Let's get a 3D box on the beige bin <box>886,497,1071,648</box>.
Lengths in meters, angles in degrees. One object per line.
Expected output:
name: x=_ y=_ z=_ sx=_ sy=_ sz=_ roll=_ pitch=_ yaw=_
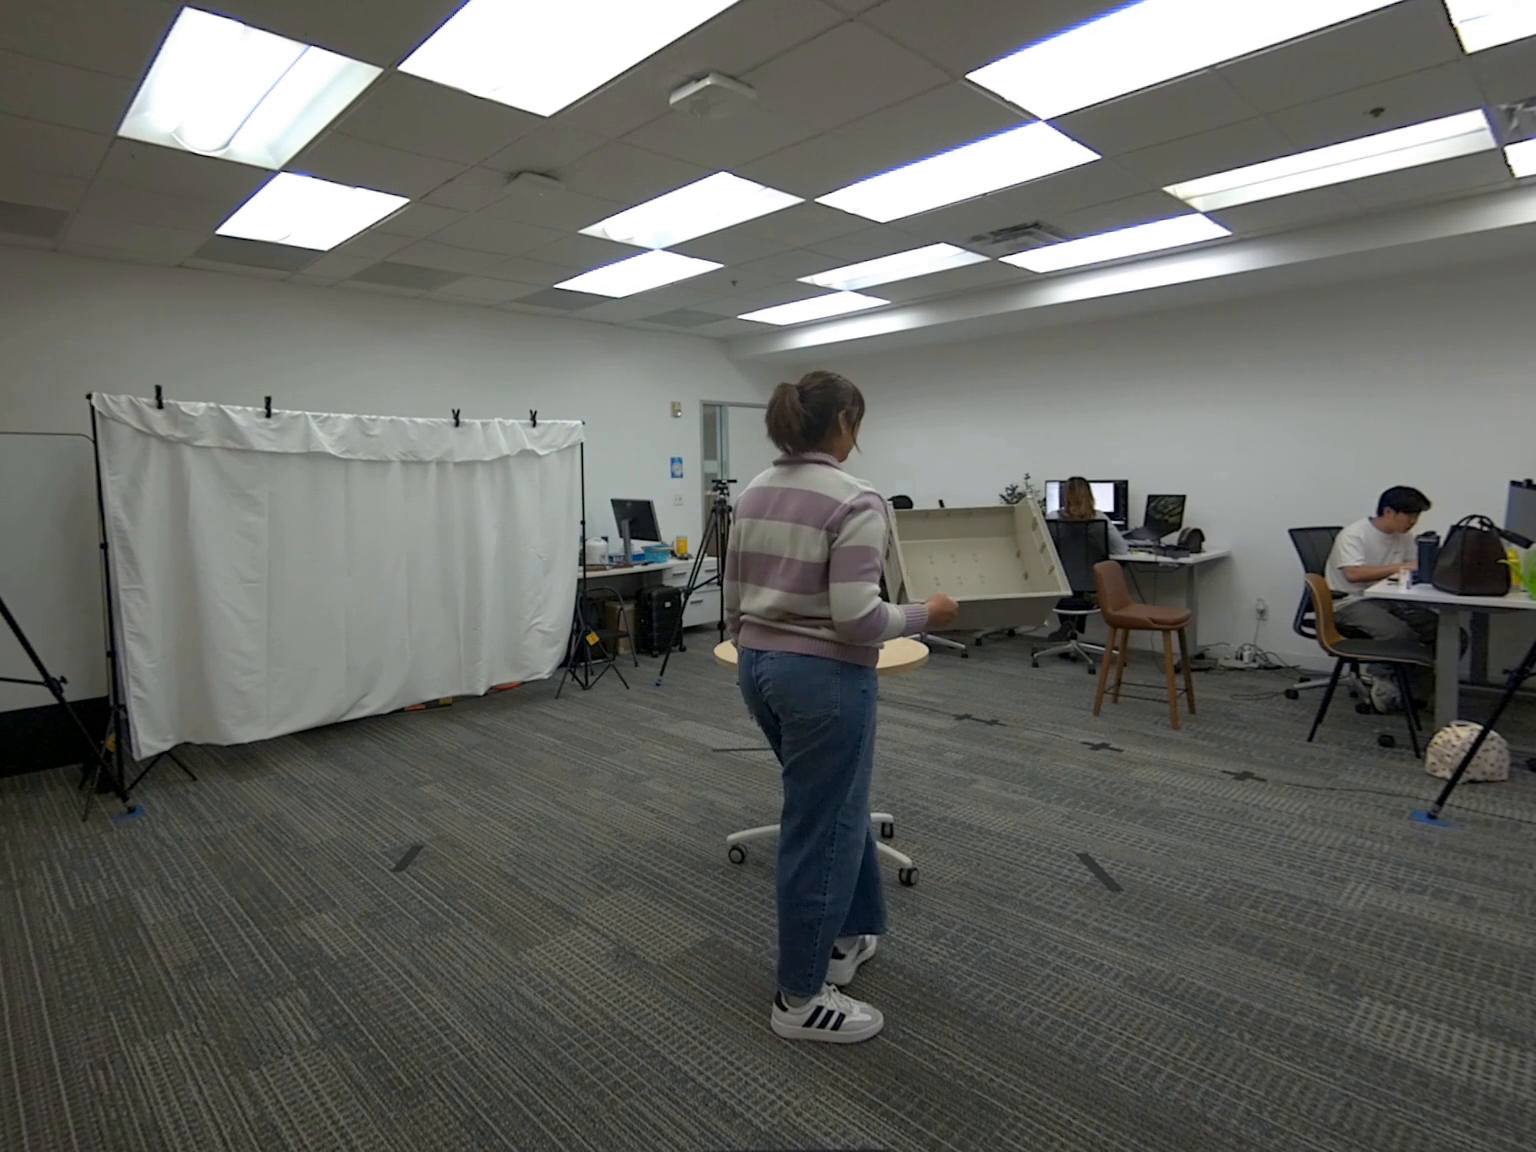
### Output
beige bin: x=0.546 y=-0.047 z=2.347 sx=0.420 sy=0.388 sz=0.184 roll=-2 pitch=-36 yaw=-6
